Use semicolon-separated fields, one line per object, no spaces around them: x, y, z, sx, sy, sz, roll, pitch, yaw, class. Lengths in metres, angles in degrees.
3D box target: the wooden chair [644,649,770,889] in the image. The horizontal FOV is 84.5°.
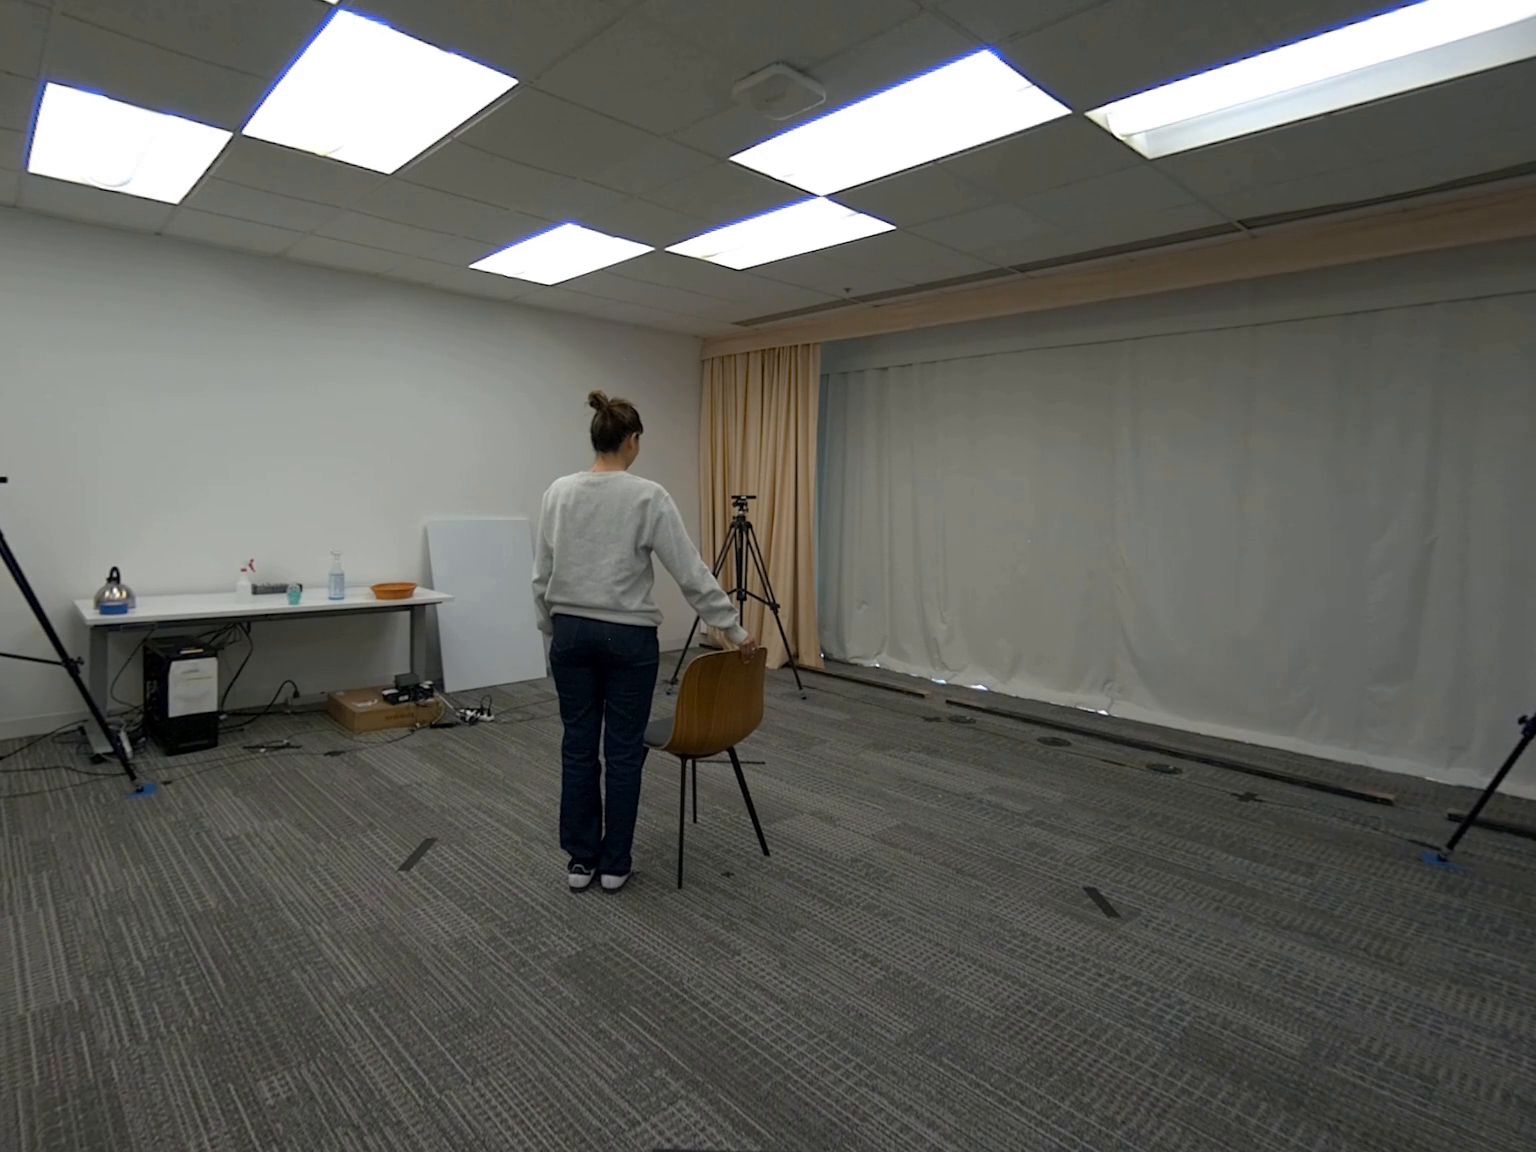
-0.308;0.657;3.268;0.467;0.873;0.537;-3;9;-43;wooden chair
